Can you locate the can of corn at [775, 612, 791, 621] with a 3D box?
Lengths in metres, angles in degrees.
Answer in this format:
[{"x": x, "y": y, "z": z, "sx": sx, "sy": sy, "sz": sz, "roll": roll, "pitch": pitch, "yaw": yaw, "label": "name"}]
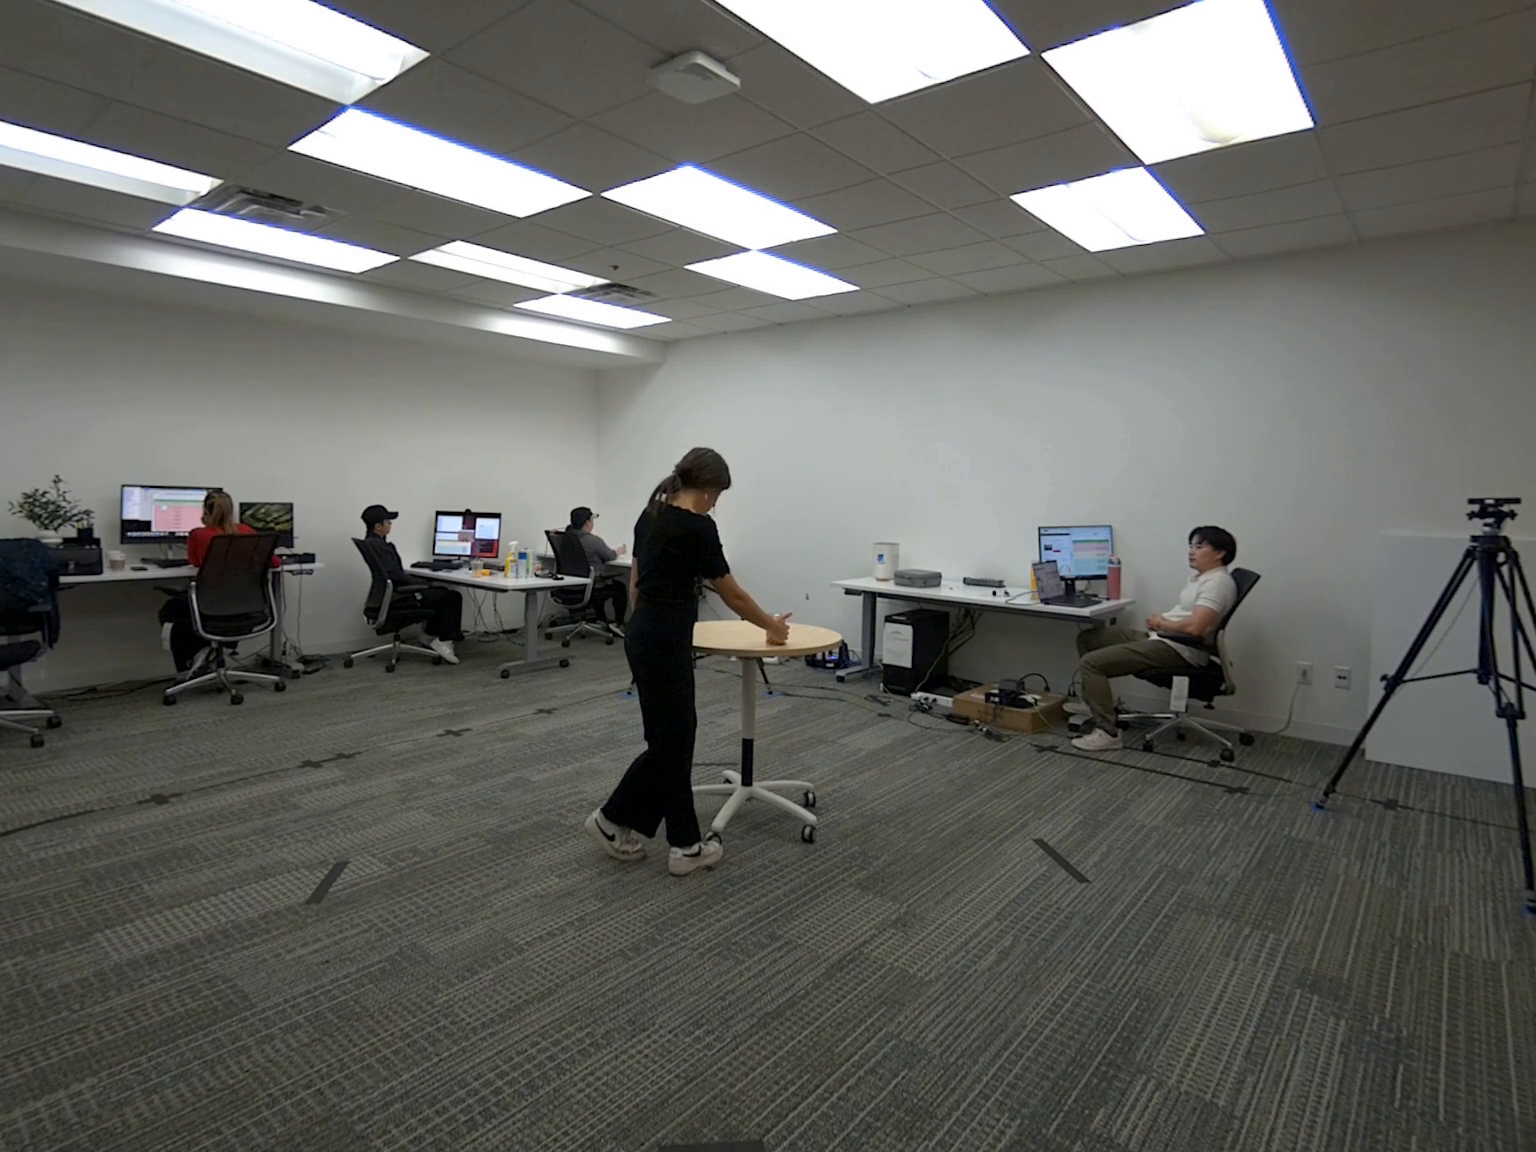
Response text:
[{"x": 0.018, "y": 0.210, "z": 3.323, "sx": 0.074, "sy": 0.110, "sz": 0.075, "roll": 0, "pitch": 6, "yaw": -2, "label": "can of corn"}]
